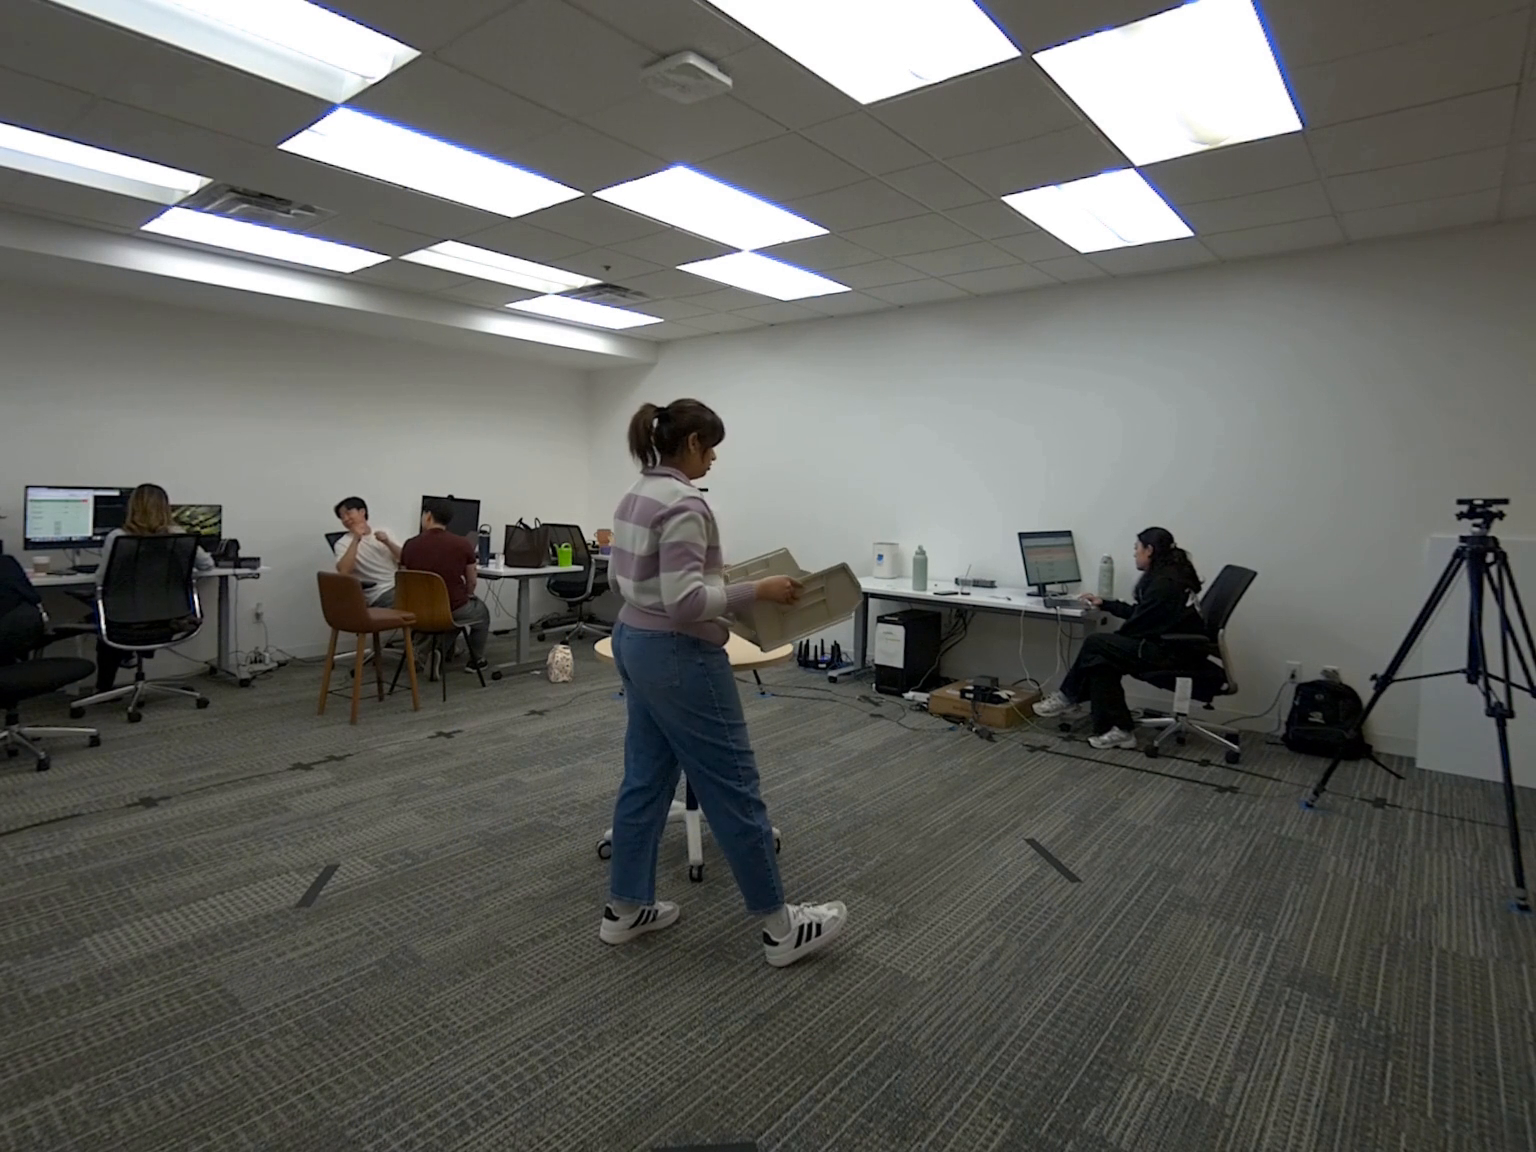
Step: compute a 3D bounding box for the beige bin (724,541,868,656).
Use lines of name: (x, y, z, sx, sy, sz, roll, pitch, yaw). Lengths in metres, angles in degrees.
beige bin: (0.034, 0.056, 2.750, 0.372, 0.186, 0.434, -20, 16, -20)
